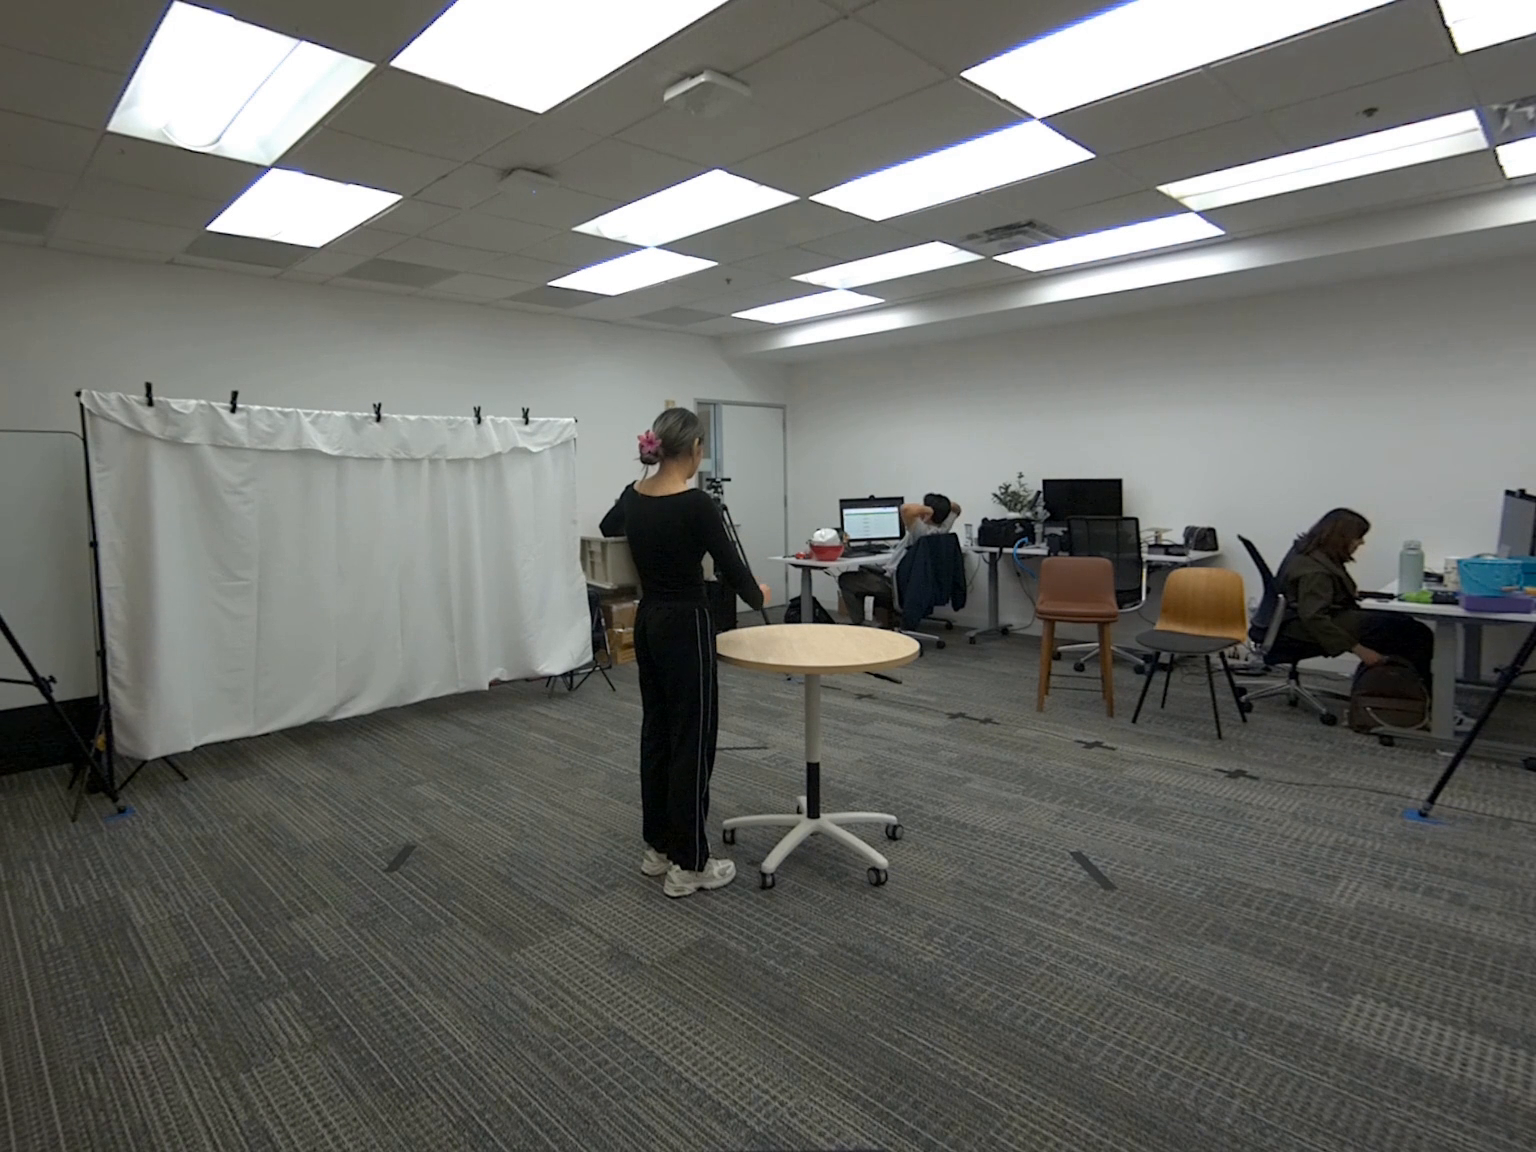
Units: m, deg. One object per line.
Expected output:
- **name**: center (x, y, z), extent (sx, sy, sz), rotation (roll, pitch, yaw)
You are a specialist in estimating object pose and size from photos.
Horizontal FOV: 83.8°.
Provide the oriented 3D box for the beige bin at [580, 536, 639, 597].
- **beige bin**: center (-0.457, -0.072, 3.214), extent (0.413, 0.188, 0.387), rotation (-4, 6, -26)
